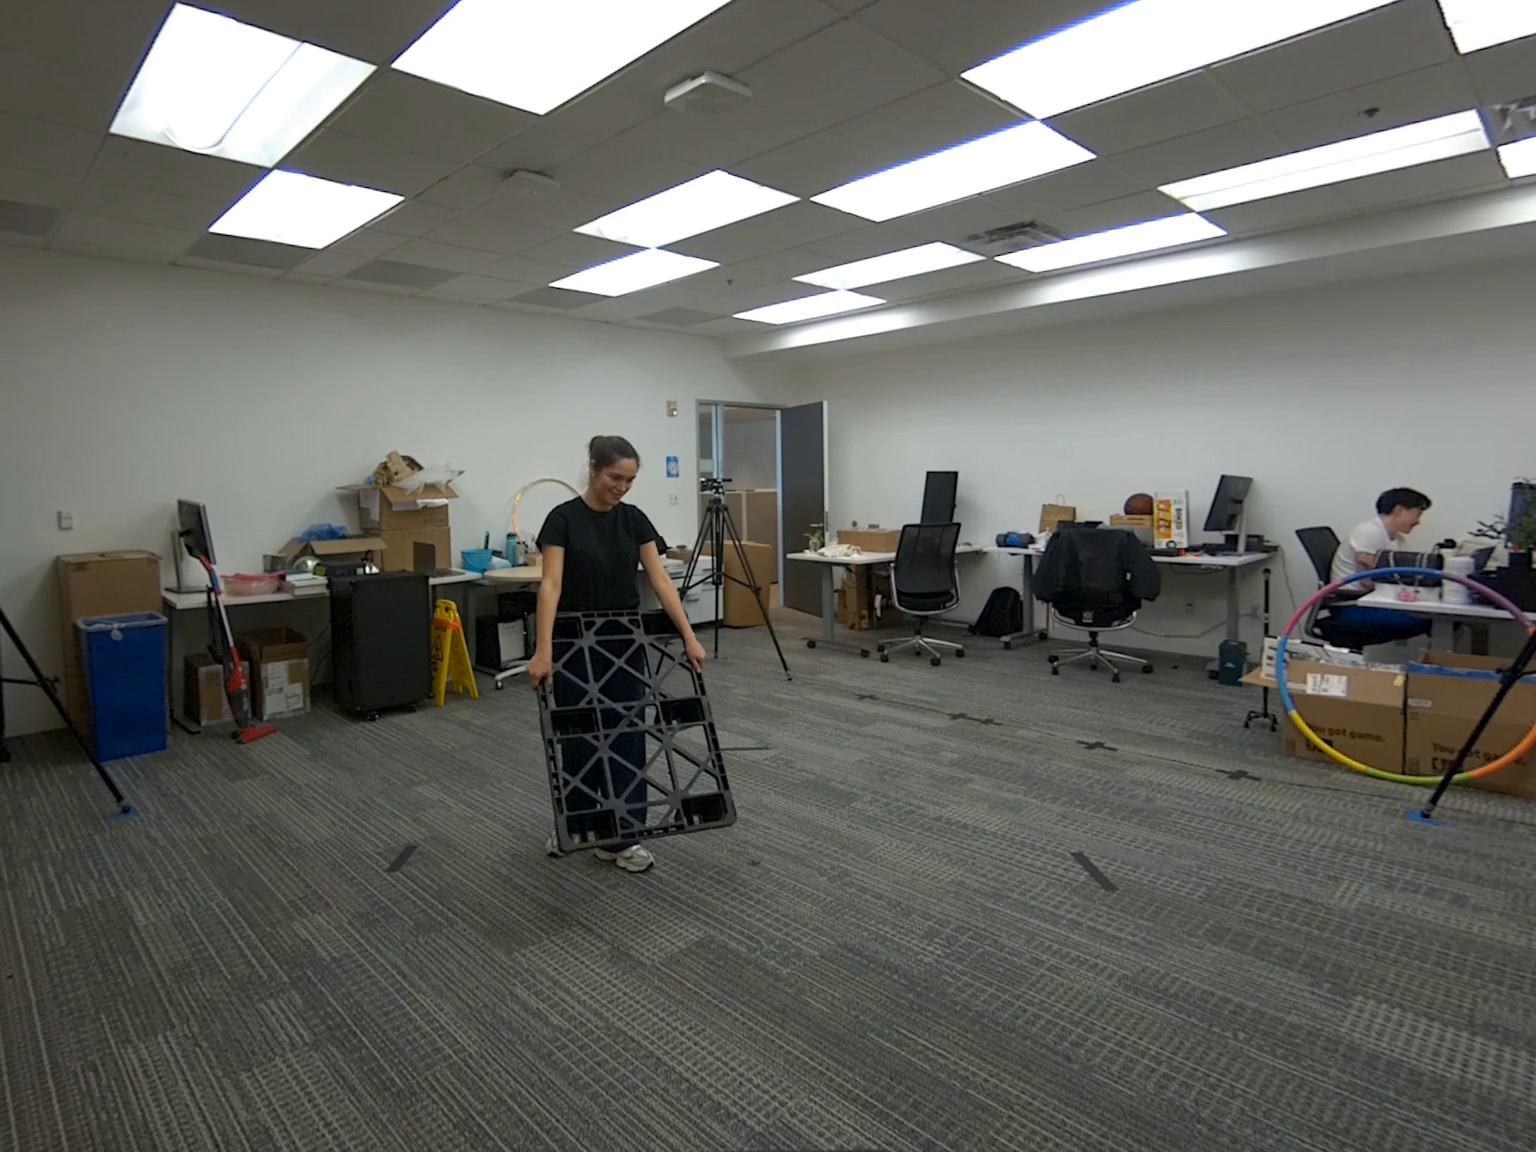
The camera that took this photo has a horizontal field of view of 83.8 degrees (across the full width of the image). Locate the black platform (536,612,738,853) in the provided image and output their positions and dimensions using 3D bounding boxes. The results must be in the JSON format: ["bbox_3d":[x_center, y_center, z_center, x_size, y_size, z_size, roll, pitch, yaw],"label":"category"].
[{"bbox_3d":[-0.484,0.499,2.927,0.591,0.828,0.143,0,-31,-28],"label":"black platform"}]
